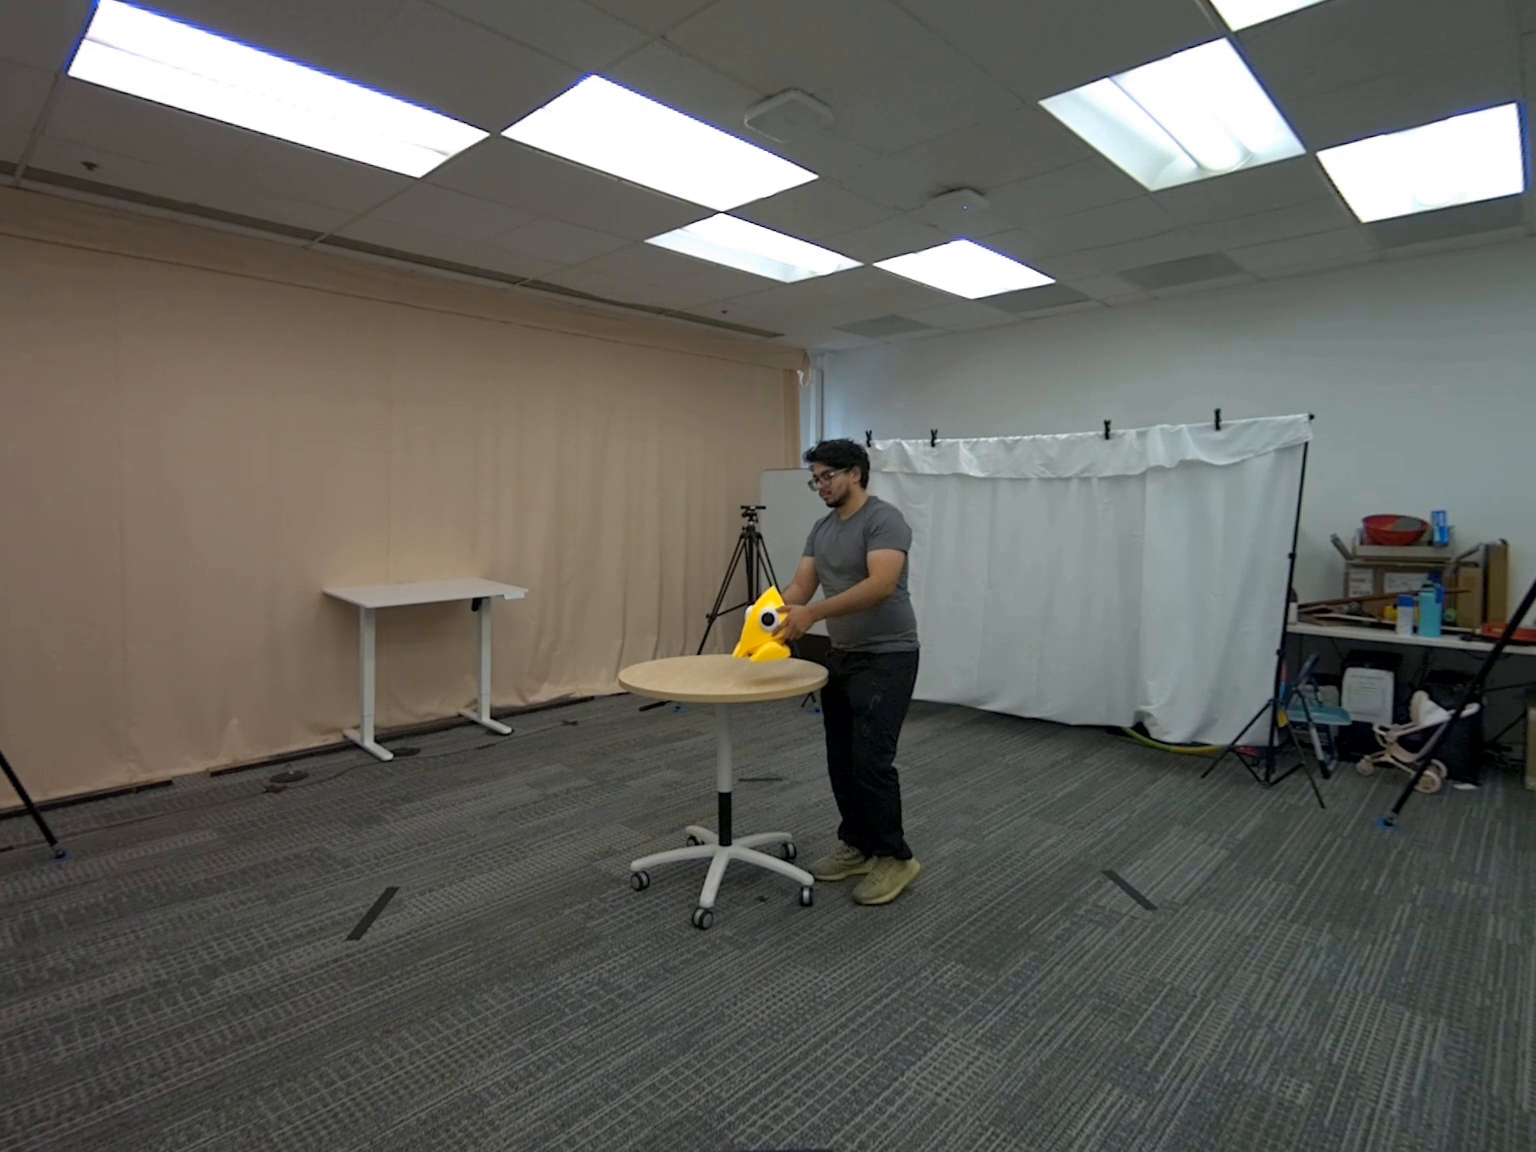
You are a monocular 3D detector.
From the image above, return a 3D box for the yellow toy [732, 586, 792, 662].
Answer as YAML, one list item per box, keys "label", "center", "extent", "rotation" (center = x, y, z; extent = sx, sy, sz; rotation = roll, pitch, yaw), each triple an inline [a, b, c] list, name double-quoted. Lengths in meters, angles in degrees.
- label: "yellow toy"
  center: [-0.016, 0.158, 2.862]
  extent: [0.188, 0.230, 0.210]
  rotation: [-8, 5, -29]
